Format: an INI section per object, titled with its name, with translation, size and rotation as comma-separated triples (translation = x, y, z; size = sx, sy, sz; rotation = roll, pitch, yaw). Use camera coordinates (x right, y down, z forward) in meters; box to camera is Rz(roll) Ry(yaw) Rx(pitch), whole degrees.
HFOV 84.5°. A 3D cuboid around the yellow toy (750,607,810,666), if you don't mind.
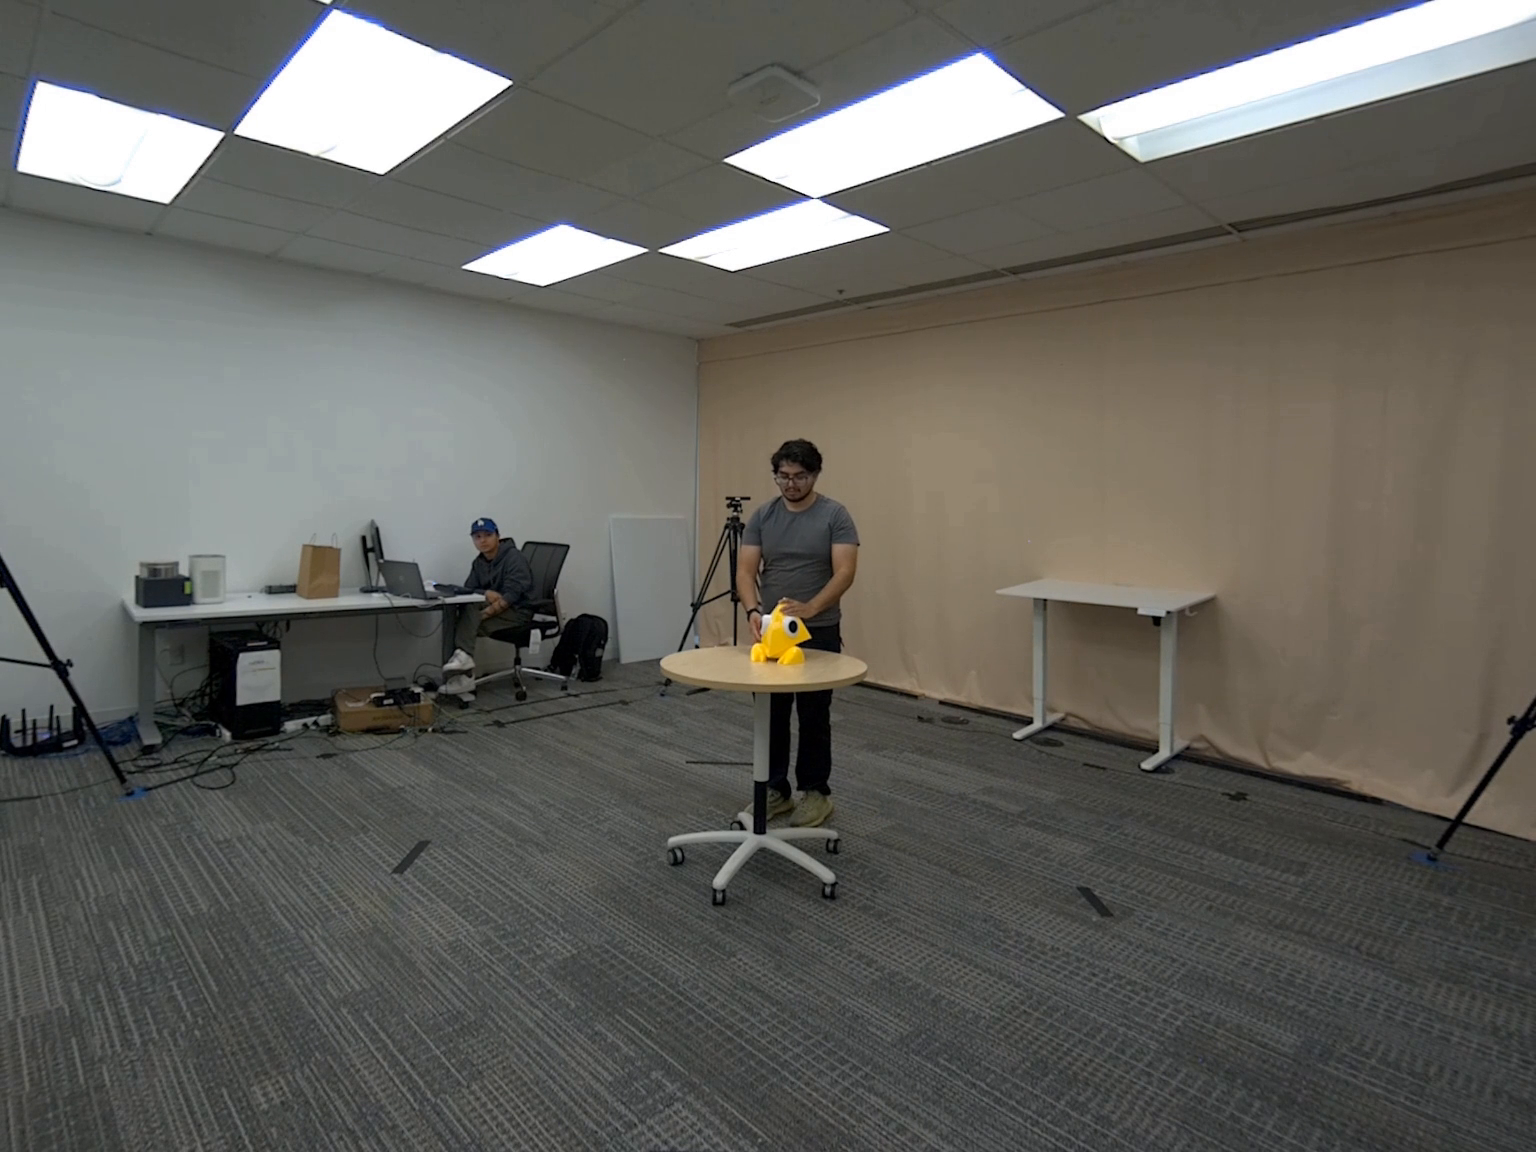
[yellow toy]
translation = 0.029, 0.205, 3.204
size = 0.208, 0.230, 0.190
rotation = 2, 4, 23
